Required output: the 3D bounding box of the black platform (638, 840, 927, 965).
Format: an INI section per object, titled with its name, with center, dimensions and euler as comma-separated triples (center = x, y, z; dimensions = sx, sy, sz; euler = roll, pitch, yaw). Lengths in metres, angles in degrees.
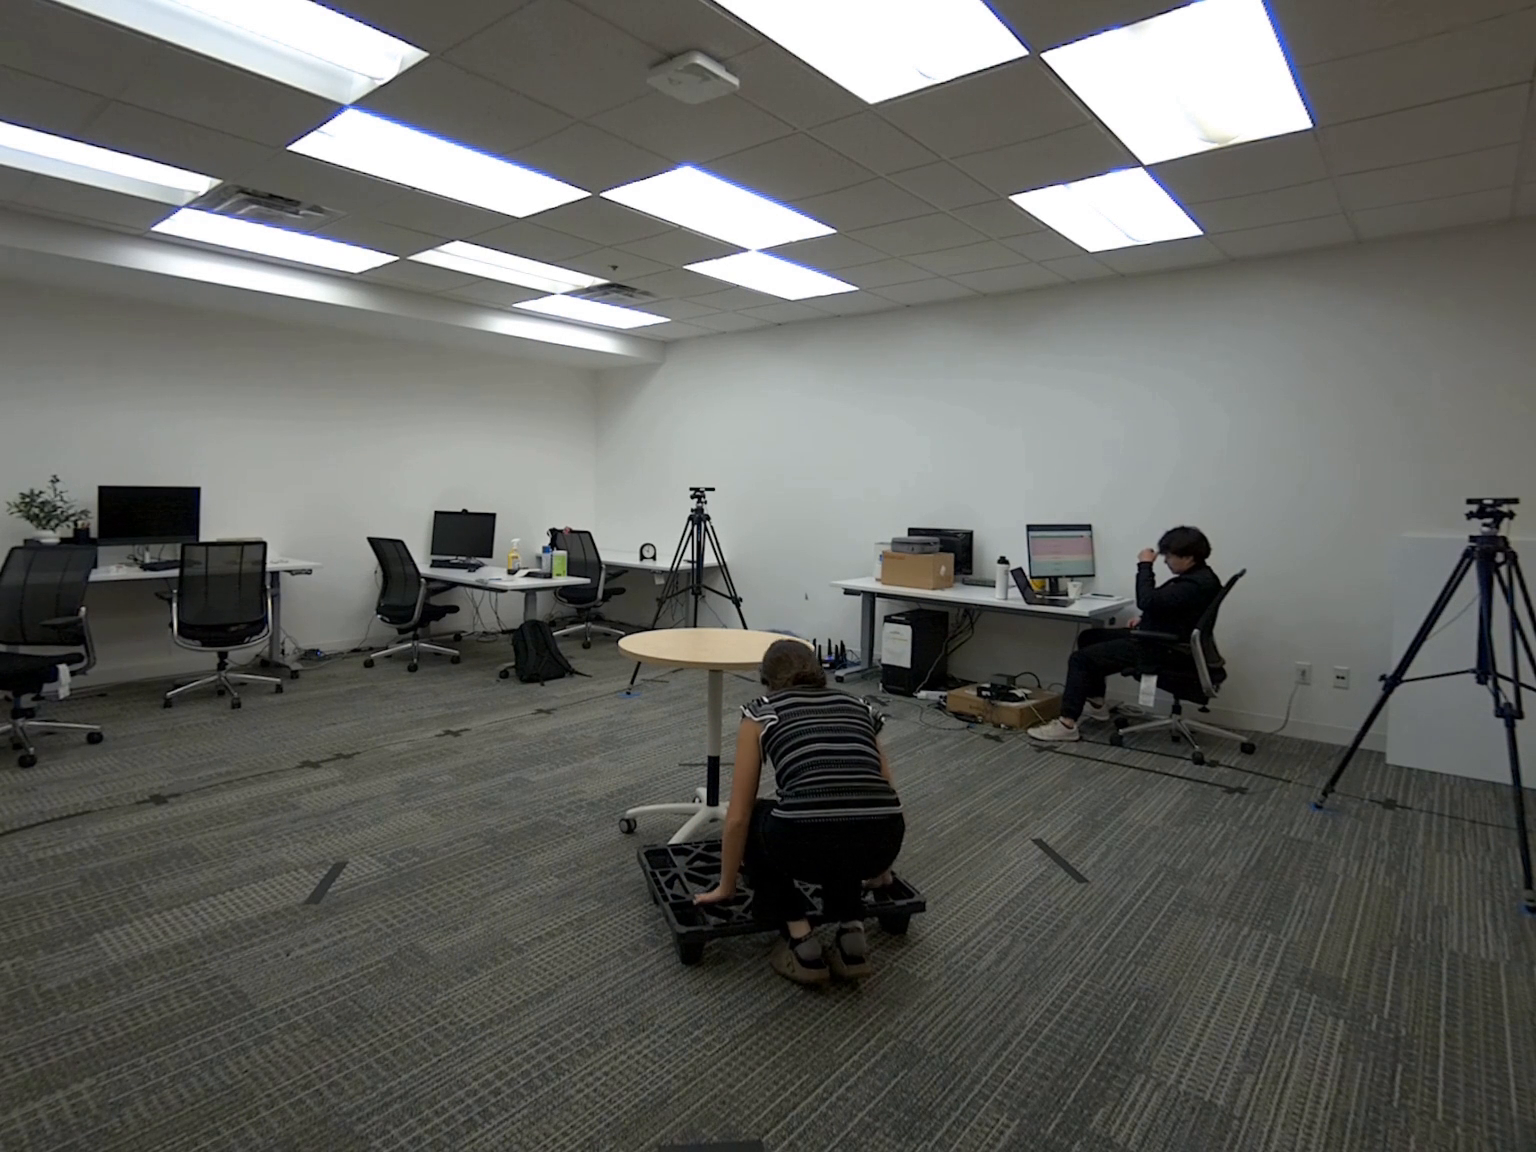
[black platform]
center = 0.003, 1.030, 2.797
dimensions = 0.791, 0.143, 0.618
euler = 0, 4, -18
